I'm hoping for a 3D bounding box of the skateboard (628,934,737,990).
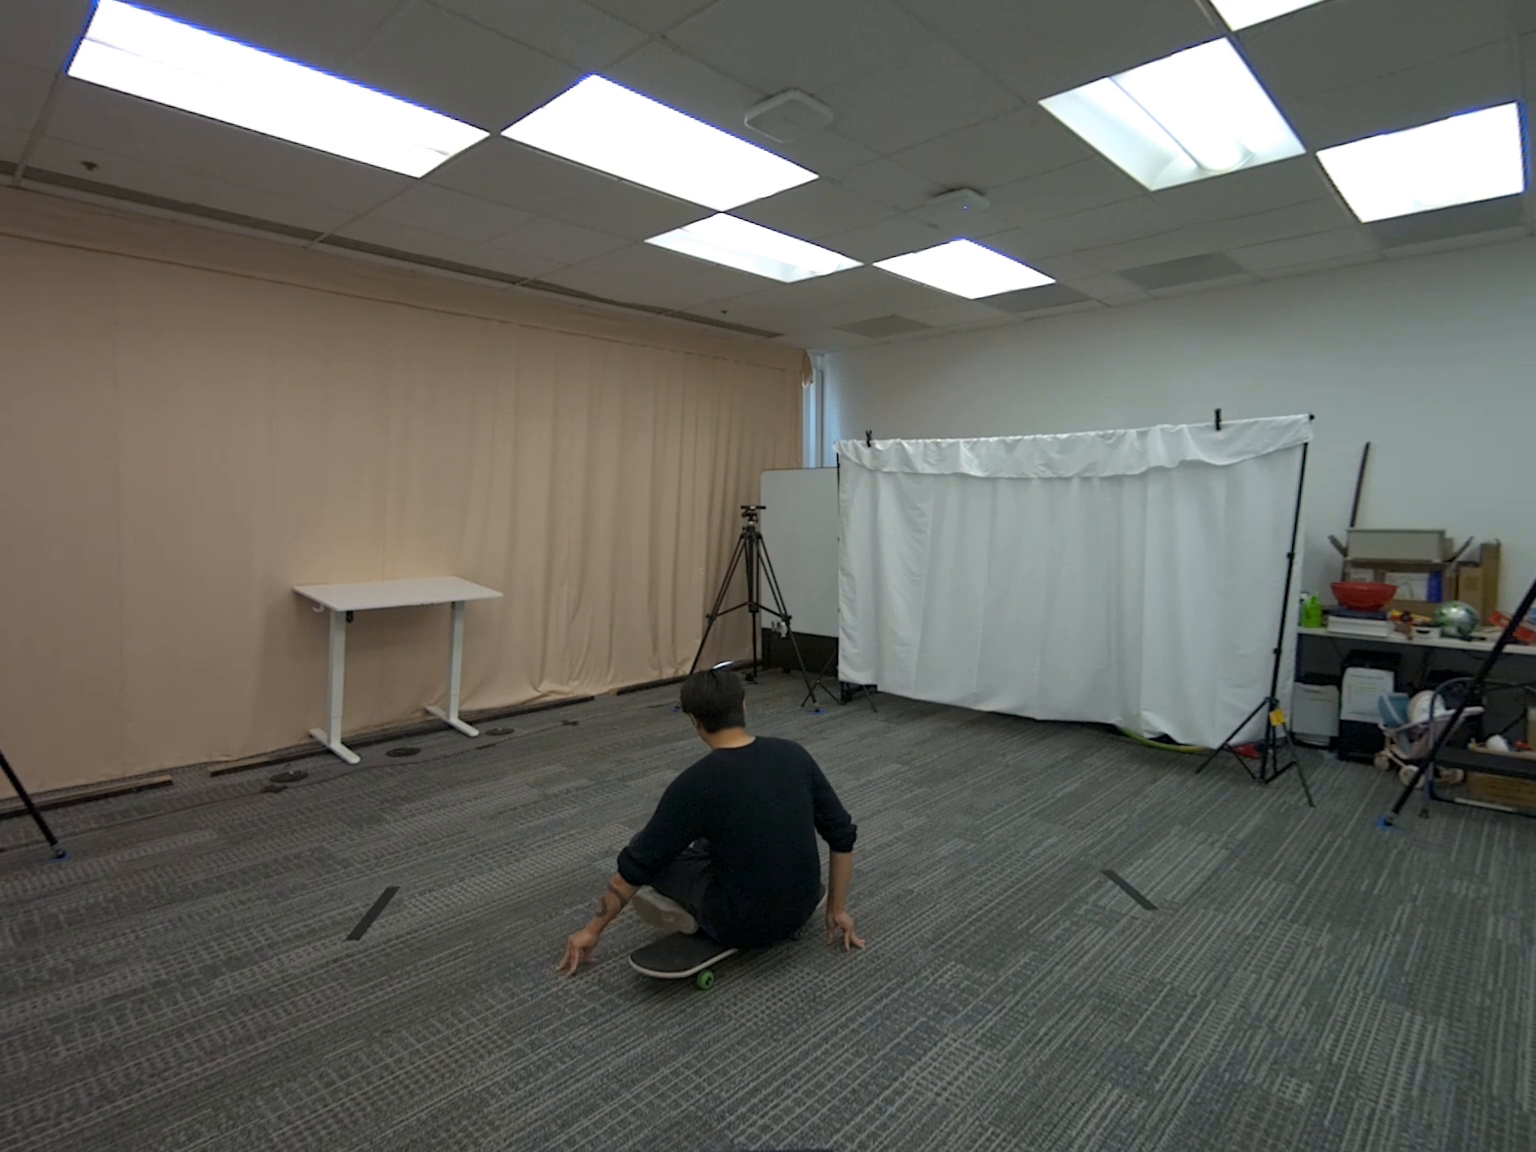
[{"bbox_3d":[-0.108,1.136,2.614,0.200,0.110,0.761,3,5,44],"label":"skateboard"}]
